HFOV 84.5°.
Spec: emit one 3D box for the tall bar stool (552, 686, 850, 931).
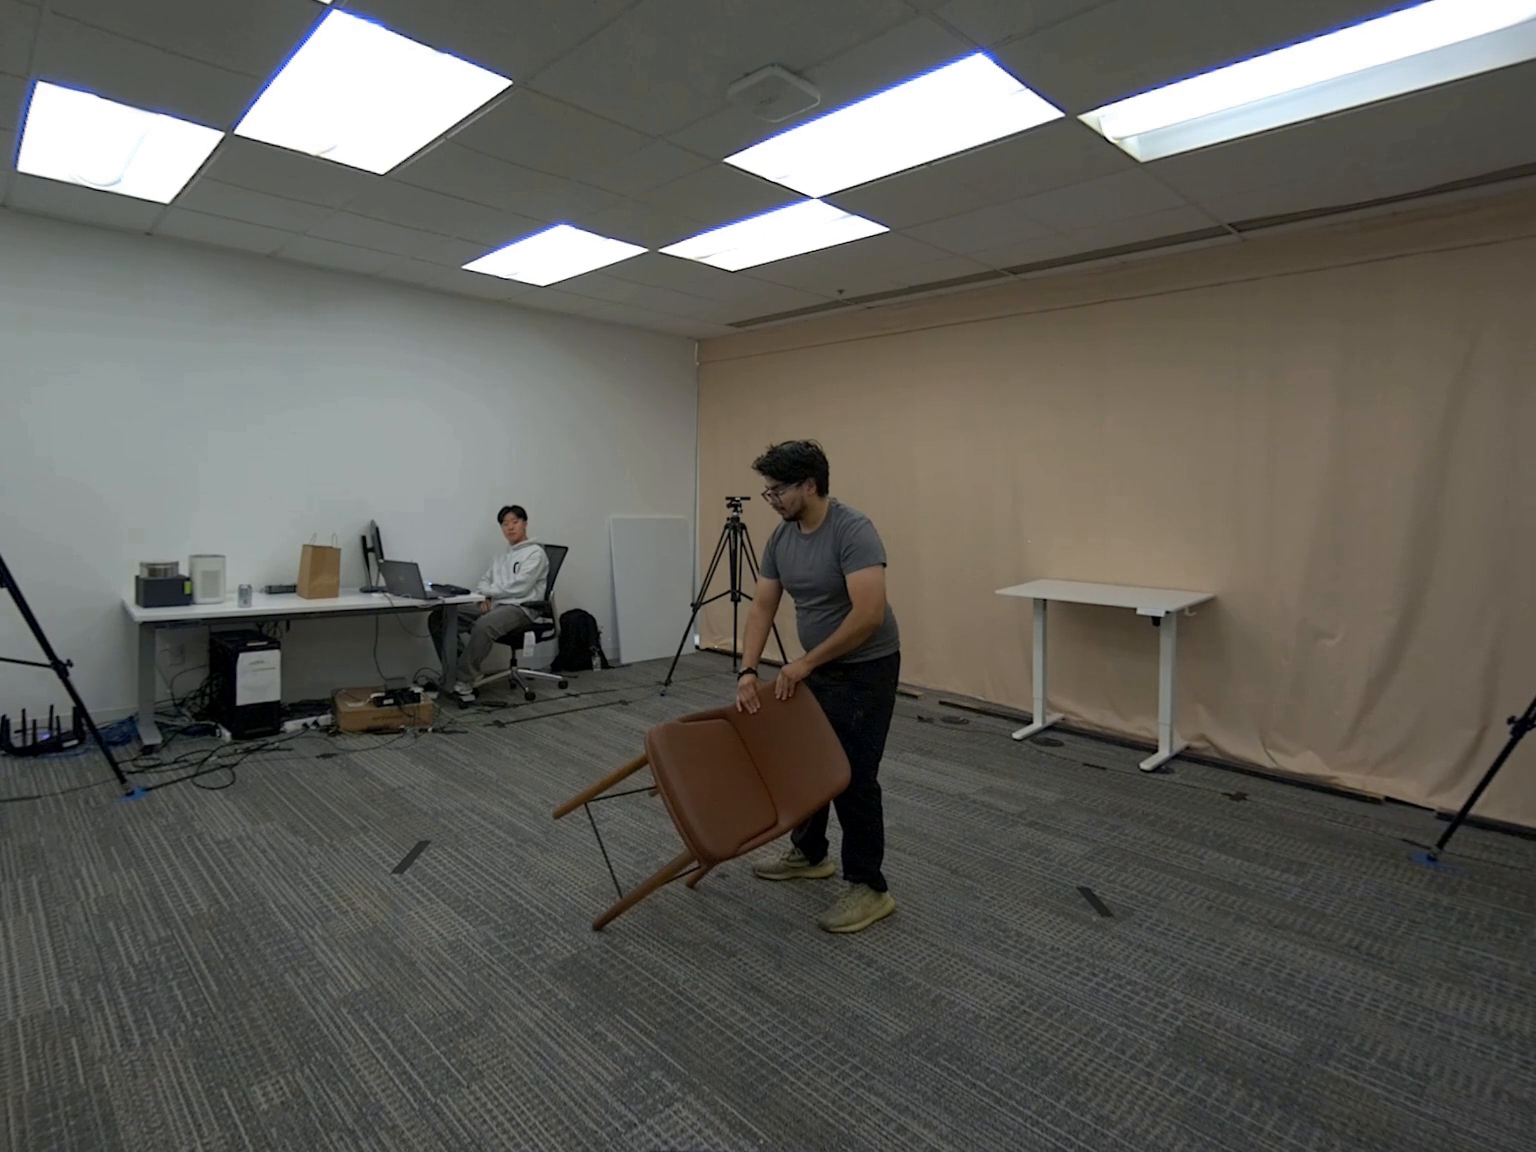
[{"bbox_3d":[-0.236,0.723,2.697,0.456,0.467,0.891,2,-37,-50],"label":"tall bar stool"}]
